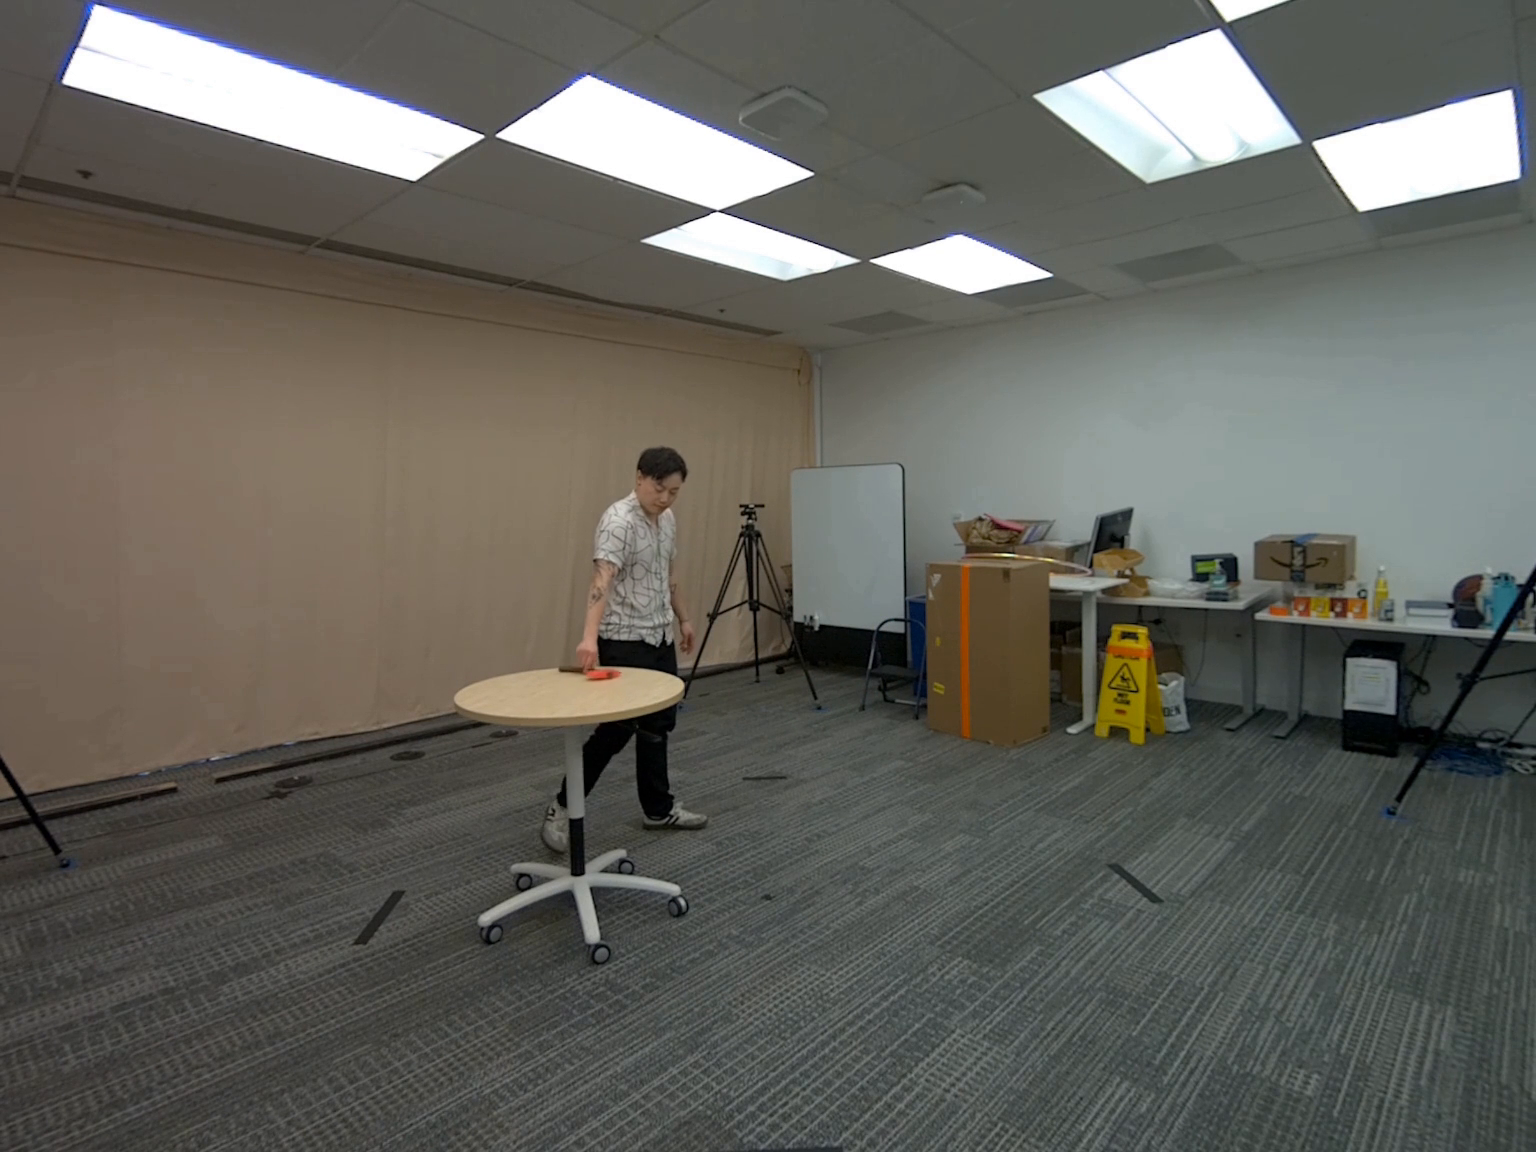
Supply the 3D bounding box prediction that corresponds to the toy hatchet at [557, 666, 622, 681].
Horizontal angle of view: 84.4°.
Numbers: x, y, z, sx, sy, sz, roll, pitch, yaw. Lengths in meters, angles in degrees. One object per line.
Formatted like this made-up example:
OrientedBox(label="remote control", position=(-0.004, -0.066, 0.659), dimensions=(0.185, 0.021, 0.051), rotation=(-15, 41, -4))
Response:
OrientedBox(label="toy hatchet", position=(-0.687, 0.352, 3.068), dimensions=(0.277, 0.029, 0.128), rotation=(1, 3, 27))
